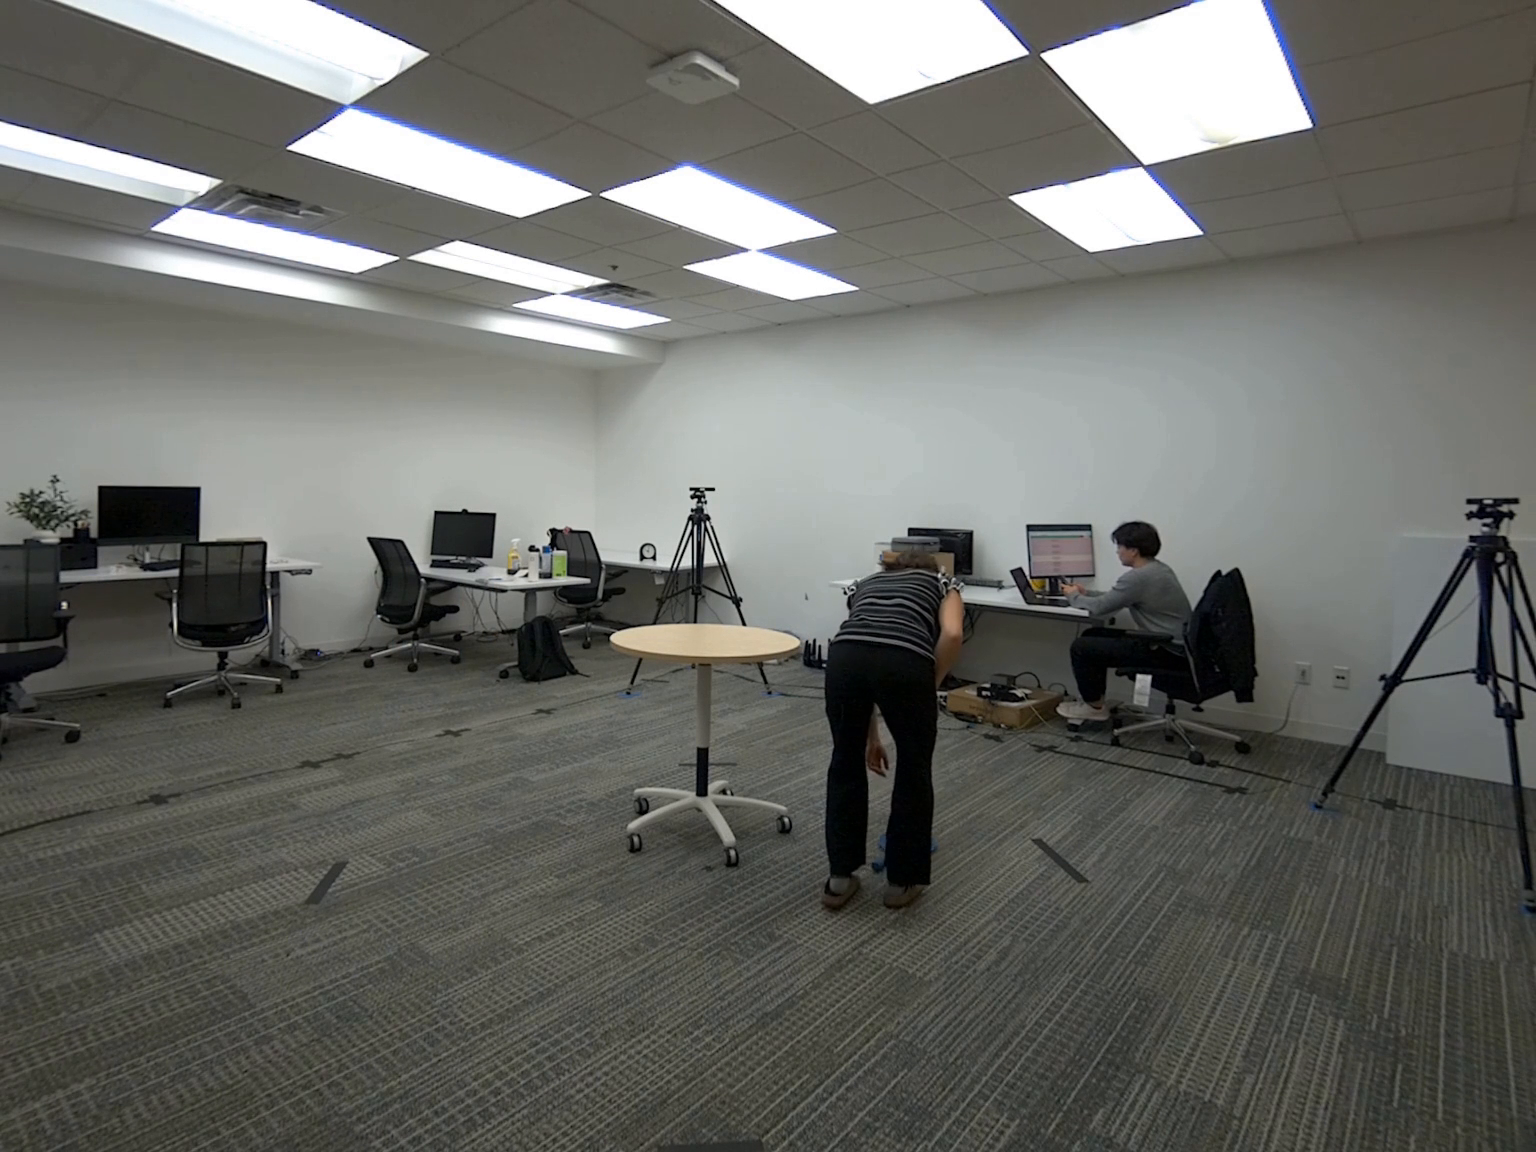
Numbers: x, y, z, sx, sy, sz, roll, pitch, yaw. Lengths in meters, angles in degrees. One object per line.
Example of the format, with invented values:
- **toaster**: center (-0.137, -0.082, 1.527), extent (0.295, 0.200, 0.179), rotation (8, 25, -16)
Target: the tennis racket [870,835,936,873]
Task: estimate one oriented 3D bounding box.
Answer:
- **tennis racket**: center (0.500, 1.046, 3.286), extent (0.220, 0.031, 0.421), rotation (5, 6, 32)
